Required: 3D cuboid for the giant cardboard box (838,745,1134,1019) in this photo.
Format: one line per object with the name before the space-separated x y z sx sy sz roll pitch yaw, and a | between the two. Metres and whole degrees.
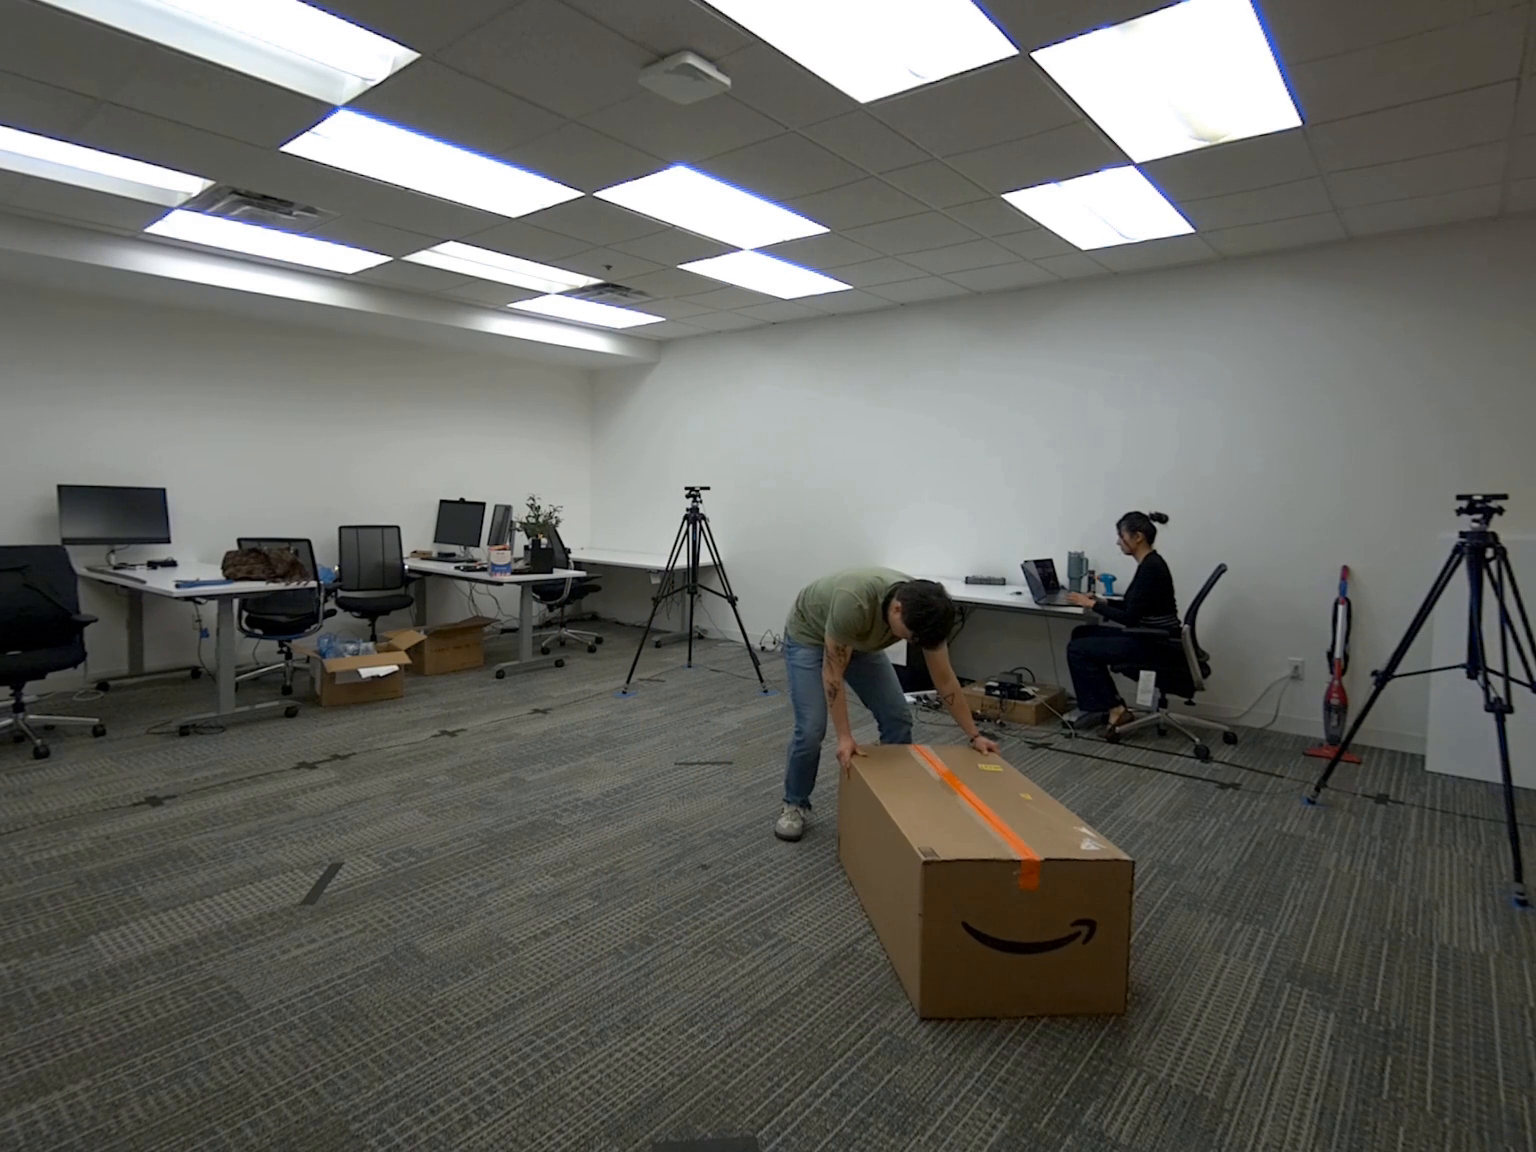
giant cardboard box | 0.615 0.901 2.742 0.573 0.425 1.037 2 5 -7
